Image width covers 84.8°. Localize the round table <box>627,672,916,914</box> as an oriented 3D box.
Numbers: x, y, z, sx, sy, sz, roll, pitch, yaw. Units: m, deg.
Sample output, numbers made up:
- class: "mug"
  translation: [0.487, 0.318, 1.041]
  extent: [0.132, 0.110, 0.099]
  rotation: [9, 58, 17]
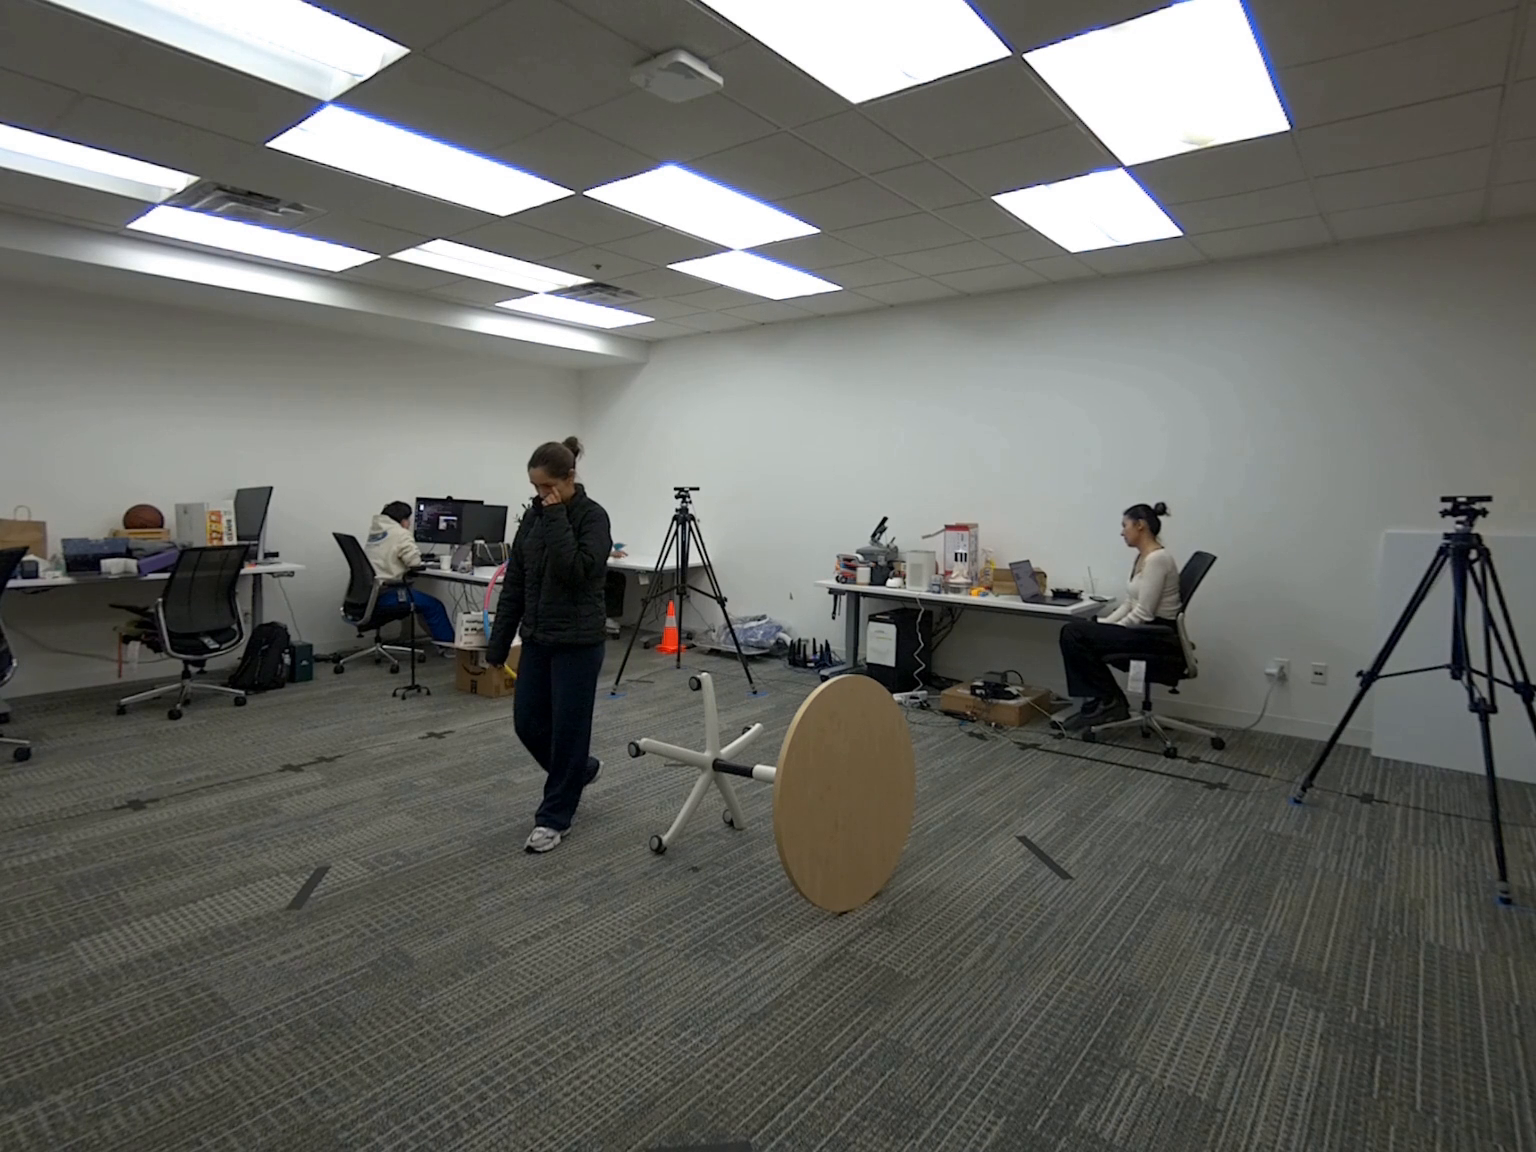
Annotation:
- class: "round table"
  translation: [0.009, 0.728, 3.156]
  extent: [0.810, 0.785, 0.761]
  rotation: [-3, 1, 44]
